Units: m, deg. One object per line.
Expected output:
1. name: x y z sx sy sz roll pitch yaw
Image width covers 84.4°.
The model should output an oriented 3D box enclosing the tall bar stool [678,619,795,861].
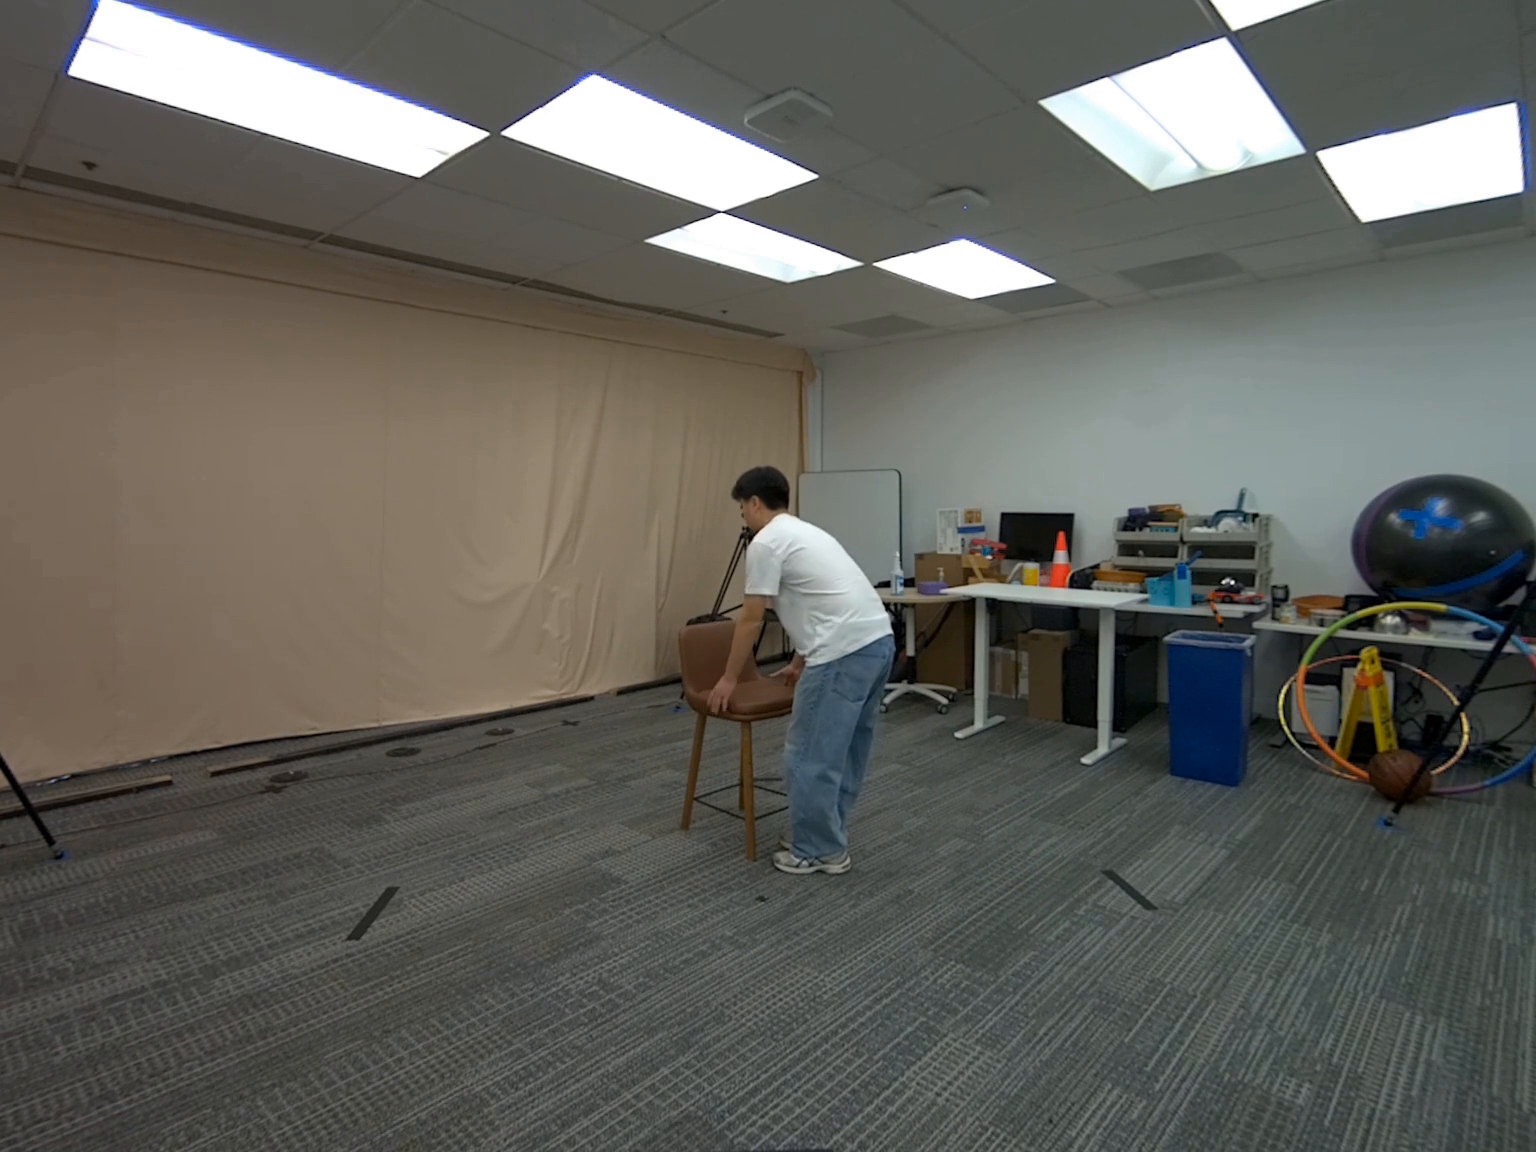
1. tall bar stool: -0.094 0.653 3.579 0.442 0.889 0.483 -3 2 -44
